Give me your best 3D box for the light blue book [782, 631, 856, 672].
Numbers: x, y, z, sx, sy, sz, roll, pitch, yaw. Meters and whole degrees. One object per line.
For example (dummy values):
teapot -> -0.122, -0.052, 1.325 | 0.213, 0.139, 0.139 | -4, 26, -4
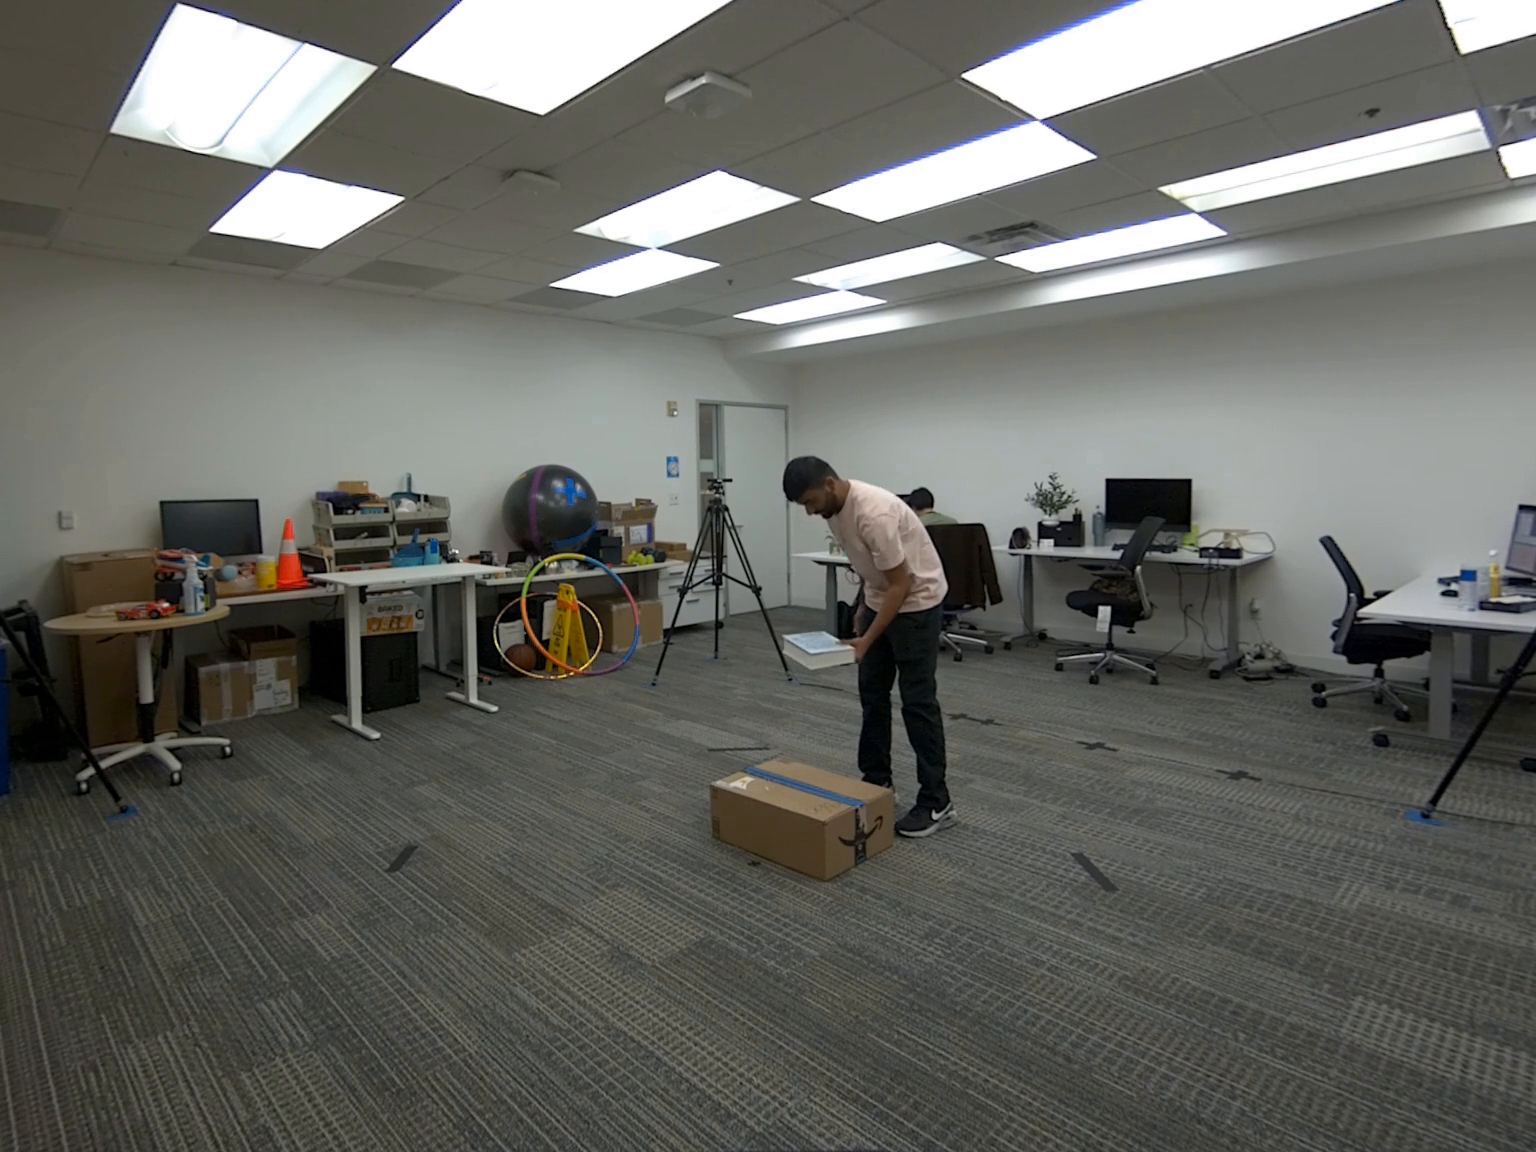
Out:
light blue book -> 0.189, 0.282, 3.314 | 0.188, 0.058, 0.268 | -5, 12, -19
